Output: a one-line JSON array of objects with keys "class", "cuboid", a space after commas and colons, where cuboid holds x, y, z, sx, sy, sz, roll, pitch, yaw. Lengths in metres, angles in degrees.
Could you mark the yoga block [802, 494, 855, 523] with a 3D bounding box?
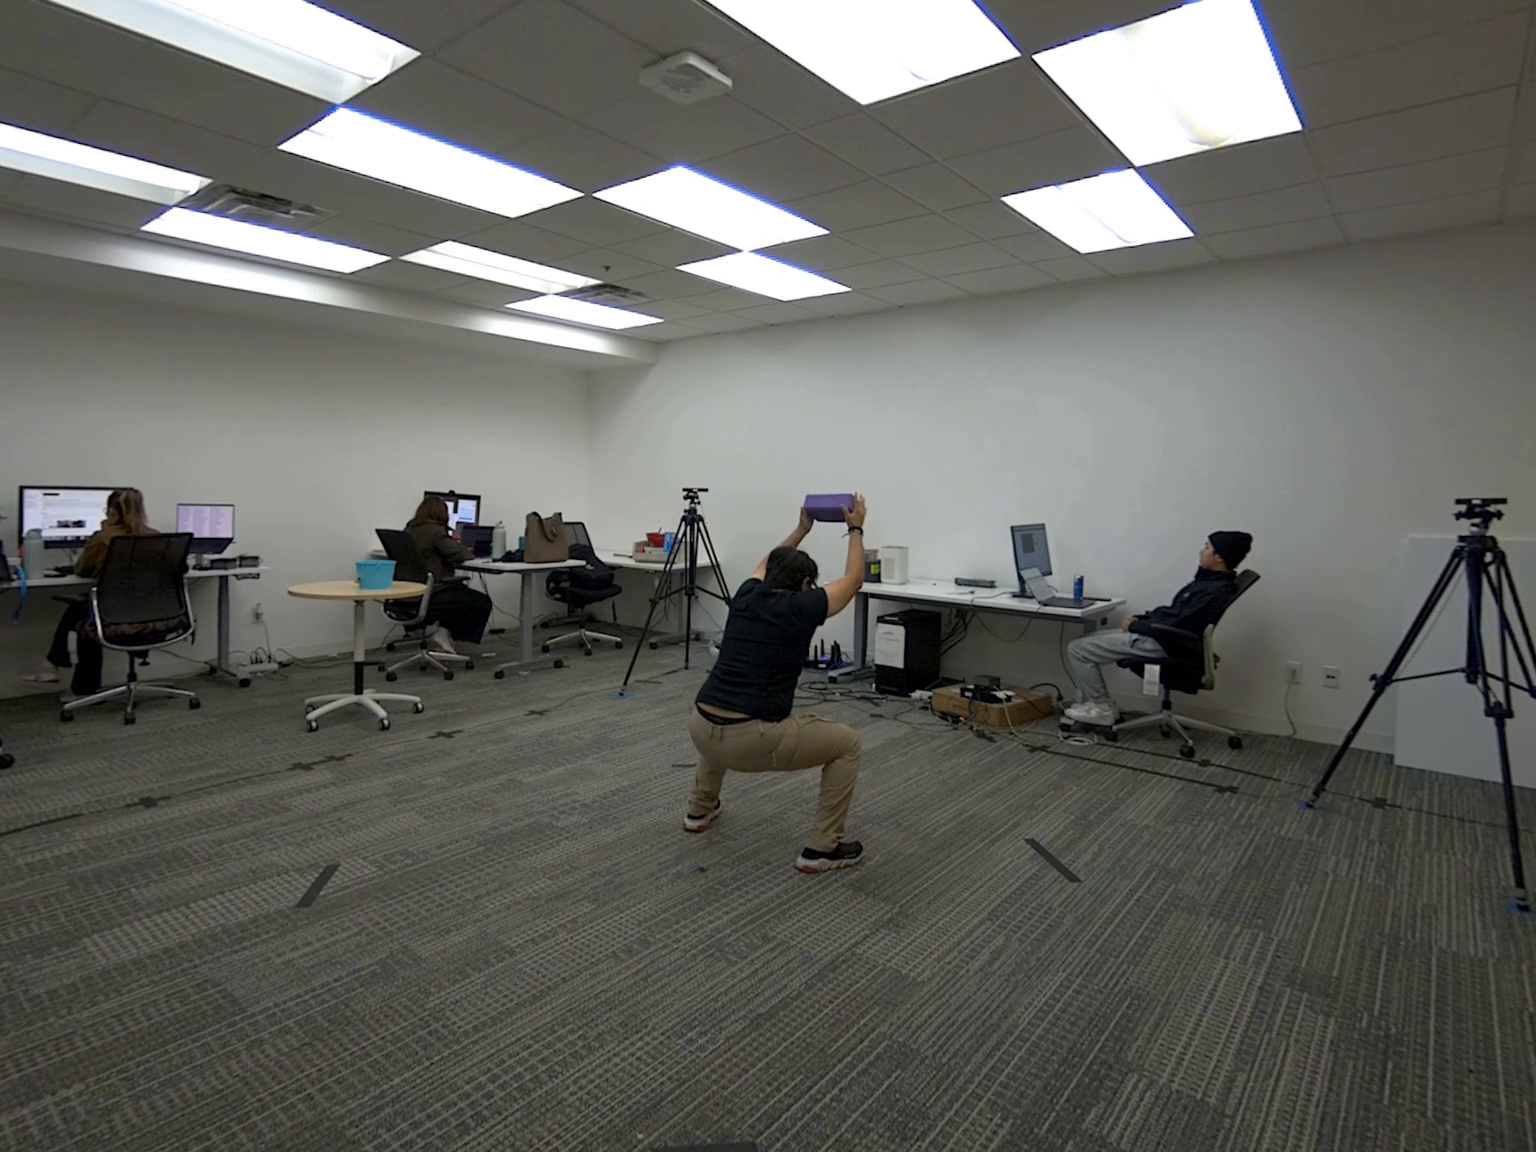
[{"class": "yoga block", "cuboid": [0.275, -0.308, 3.666, 0.236, 0.077, 0.143, 2, -24, 37]}]
